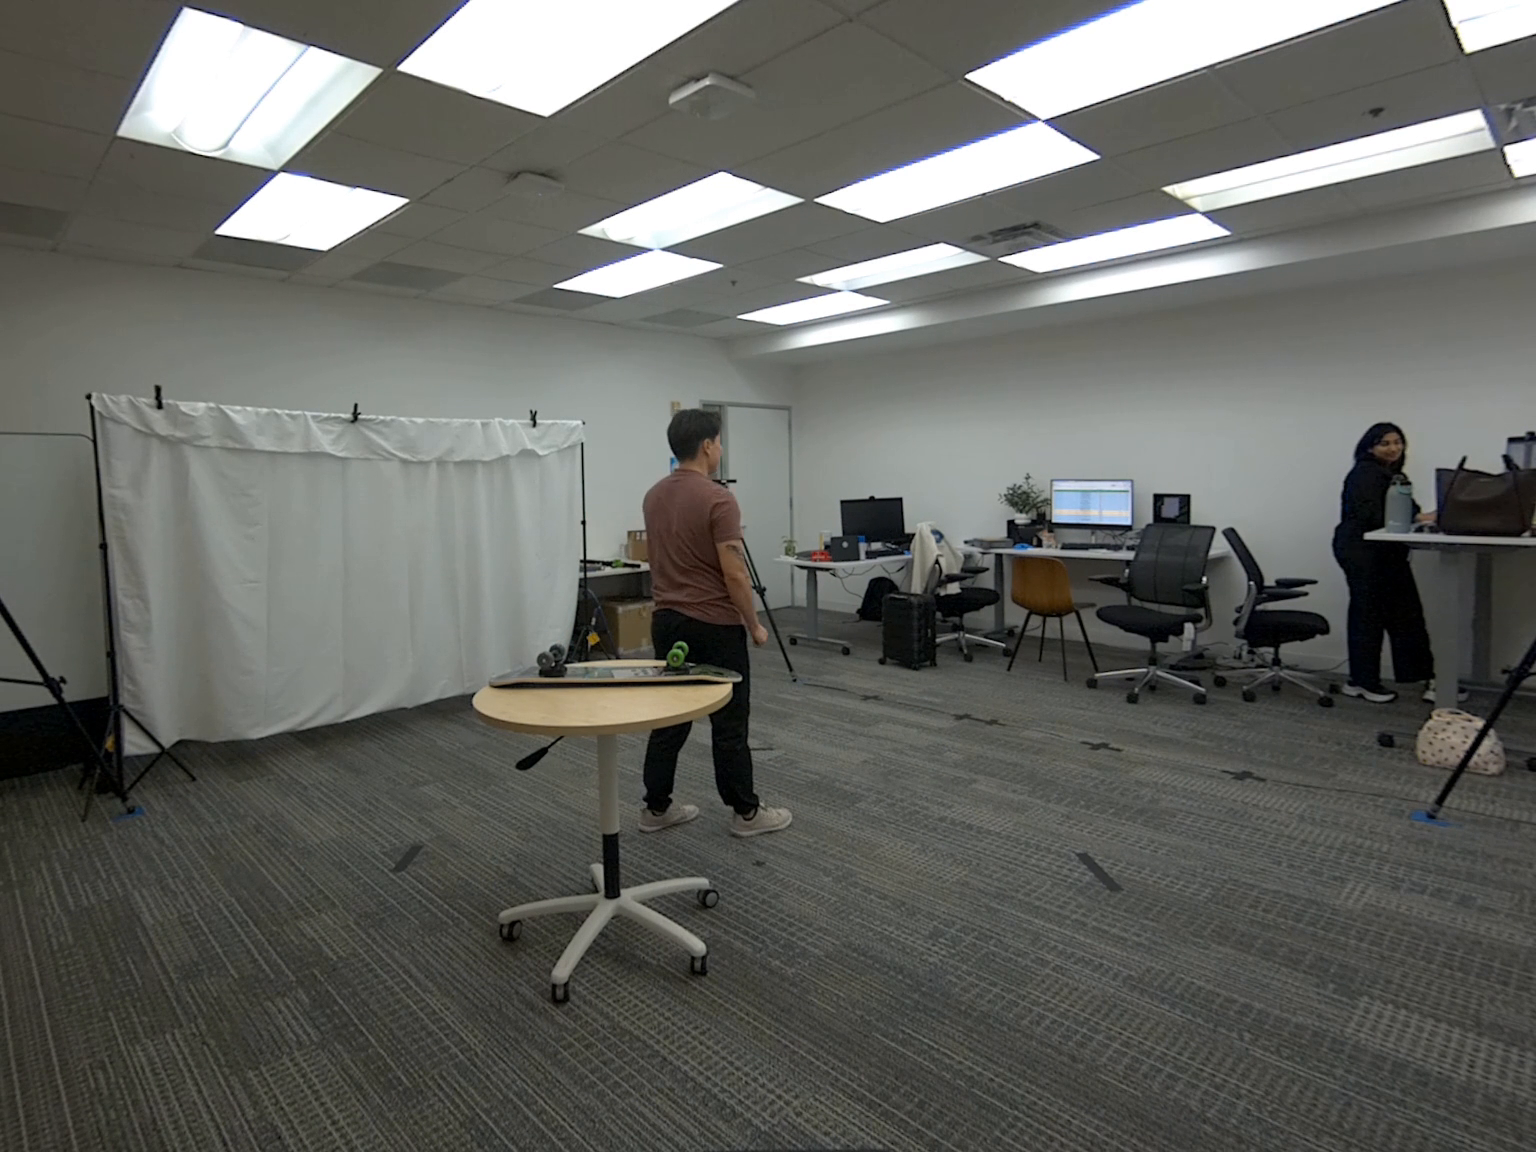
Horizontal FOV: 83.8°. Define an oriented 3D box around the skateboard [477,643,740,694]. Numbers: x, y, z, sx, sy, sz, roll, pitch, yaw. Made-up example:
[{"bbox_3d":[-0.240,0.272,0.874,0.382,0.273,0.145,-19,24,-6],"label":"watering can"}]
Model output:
[{"bbox_3d":[-0.481,0.281,2.658,0.787,0.110,0.194,-1,5,2],"label":"skateboard"}]
